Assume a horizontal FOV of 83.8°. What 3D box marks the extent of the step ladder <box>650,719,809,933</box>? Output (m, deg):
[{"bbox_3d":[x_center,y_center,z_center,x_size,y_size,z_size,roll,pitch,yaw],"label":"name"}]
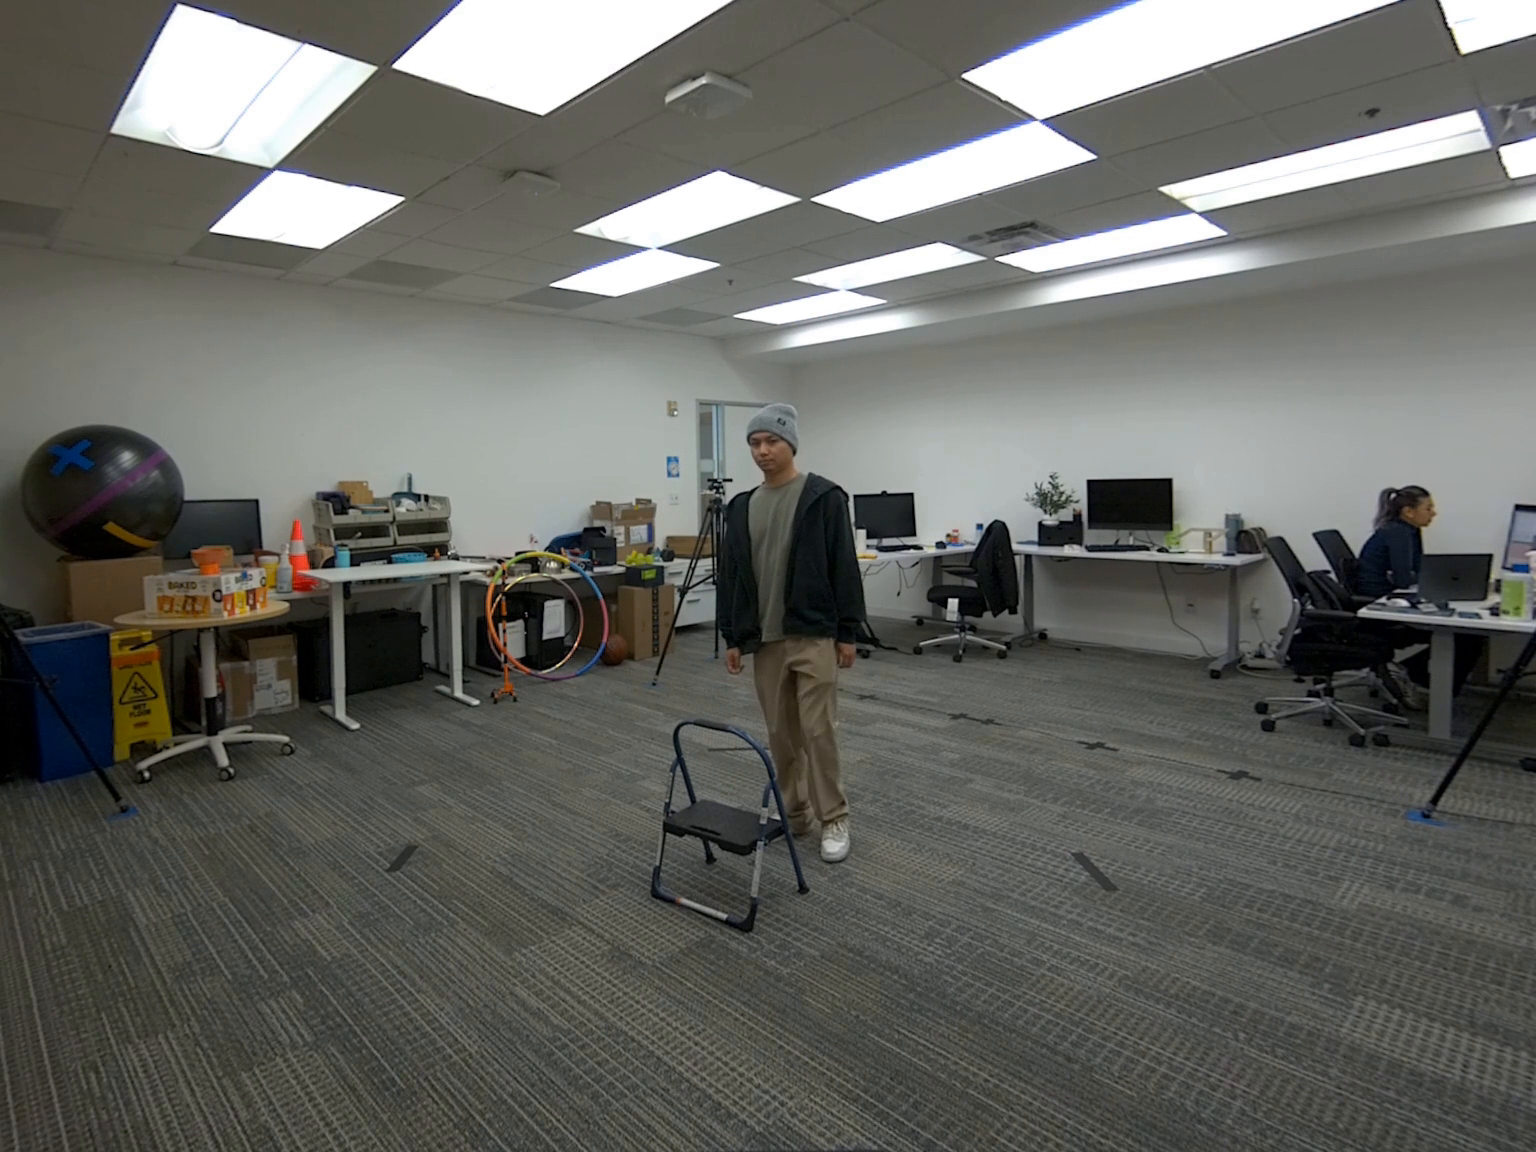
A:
[{"bbox_3d":[-0.135,0.770,2.867,0.443,0.604,0.341,2,5,35],"label":"step ladder"}]
